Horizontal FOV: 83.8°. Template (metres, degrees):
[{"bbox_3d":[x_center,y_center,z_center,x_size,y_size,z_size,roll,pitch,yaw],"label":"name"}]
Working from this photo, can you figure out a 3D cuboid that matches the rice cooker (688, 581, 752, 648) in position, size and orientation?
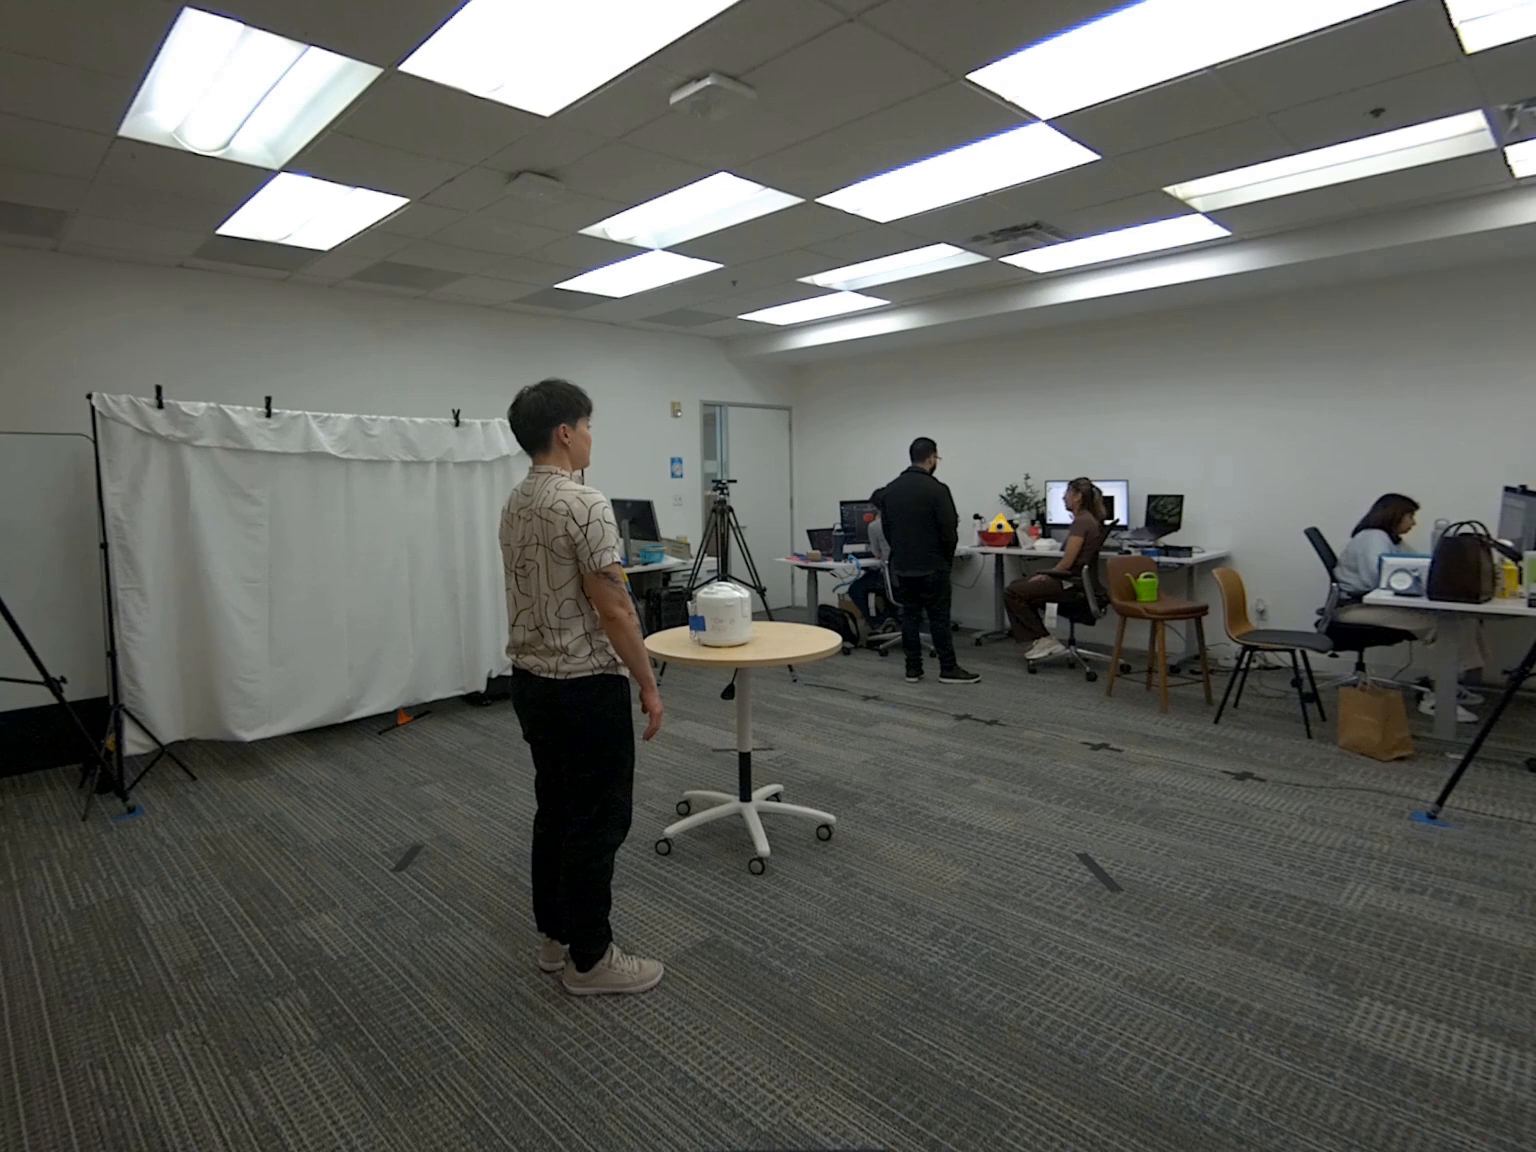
[{"bbox_3d":[-0.166,0.139,3.227,0.227,0.232,0.212,3,7,38],"label":"rice cooker"}]
